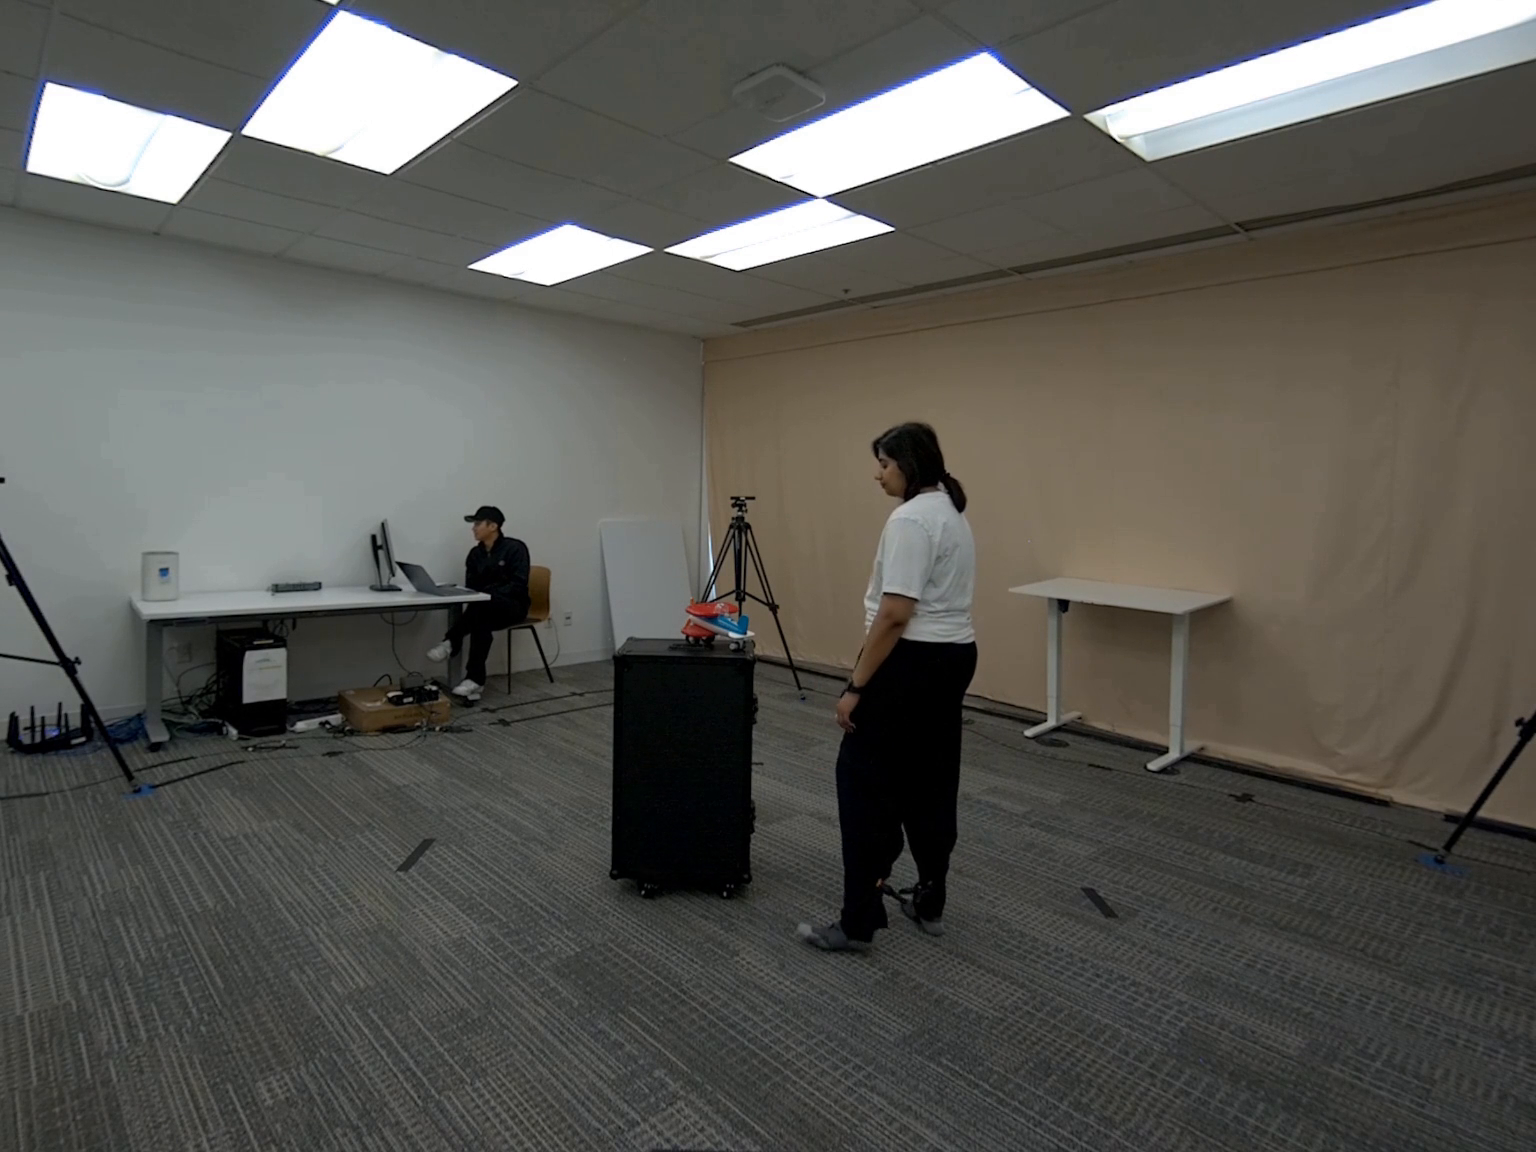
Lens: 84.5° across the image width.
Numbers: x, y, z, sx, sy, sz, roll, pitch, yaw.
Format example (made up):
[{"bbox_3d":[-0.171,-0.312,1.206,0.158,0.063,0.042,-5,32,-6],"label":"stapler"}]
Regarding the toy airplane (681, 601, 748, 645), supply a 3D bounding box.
[{"bbox_3d":[-0.180,0.176,3.060,0.261,0.156,0.250,1,5,7],"label":"toy airplane"}]
